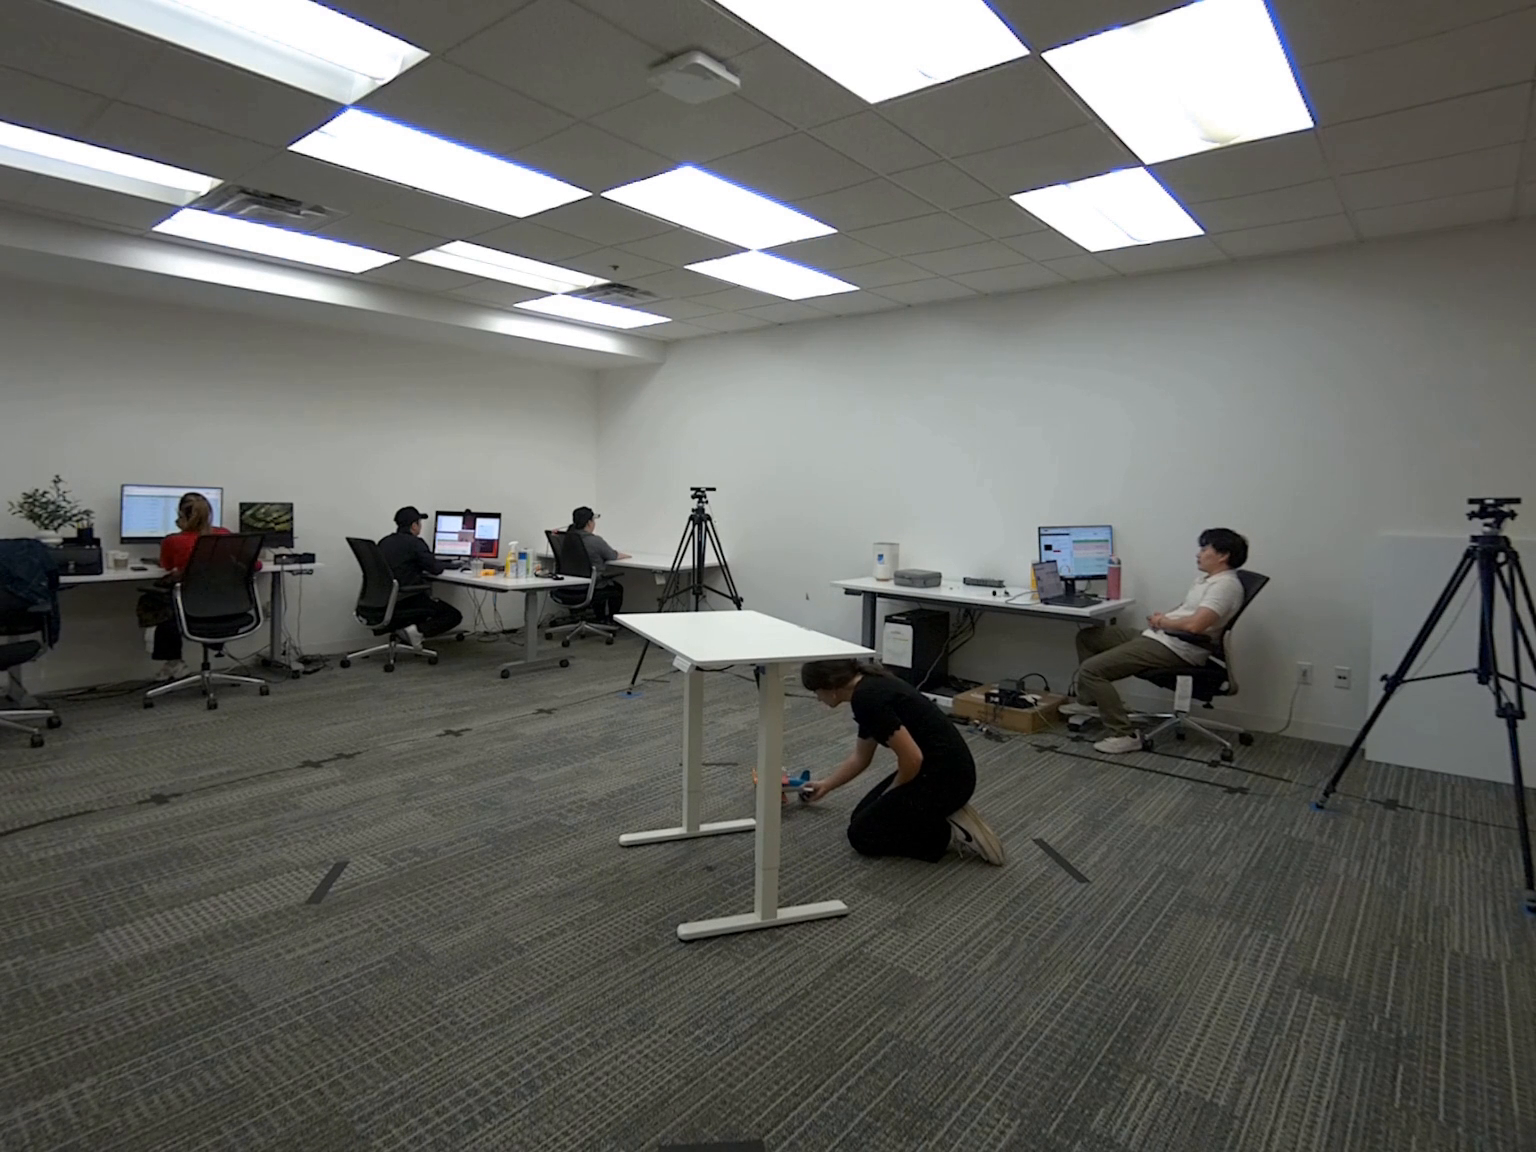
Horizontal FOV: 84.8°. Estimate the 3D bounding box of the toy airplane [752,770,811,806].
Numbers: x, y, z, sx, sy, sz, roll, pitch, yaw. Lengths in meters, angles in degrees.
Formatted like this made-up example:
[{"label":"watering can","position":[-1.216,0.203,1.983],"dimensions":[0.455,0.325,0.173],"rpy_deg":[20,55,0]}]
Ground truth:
[{"label":"toy airplane","position":[0.054,0.918,3.758],"dimensions":[0.253,0.155,0.259],"rpy_deg":[-14,9,-40]}]
